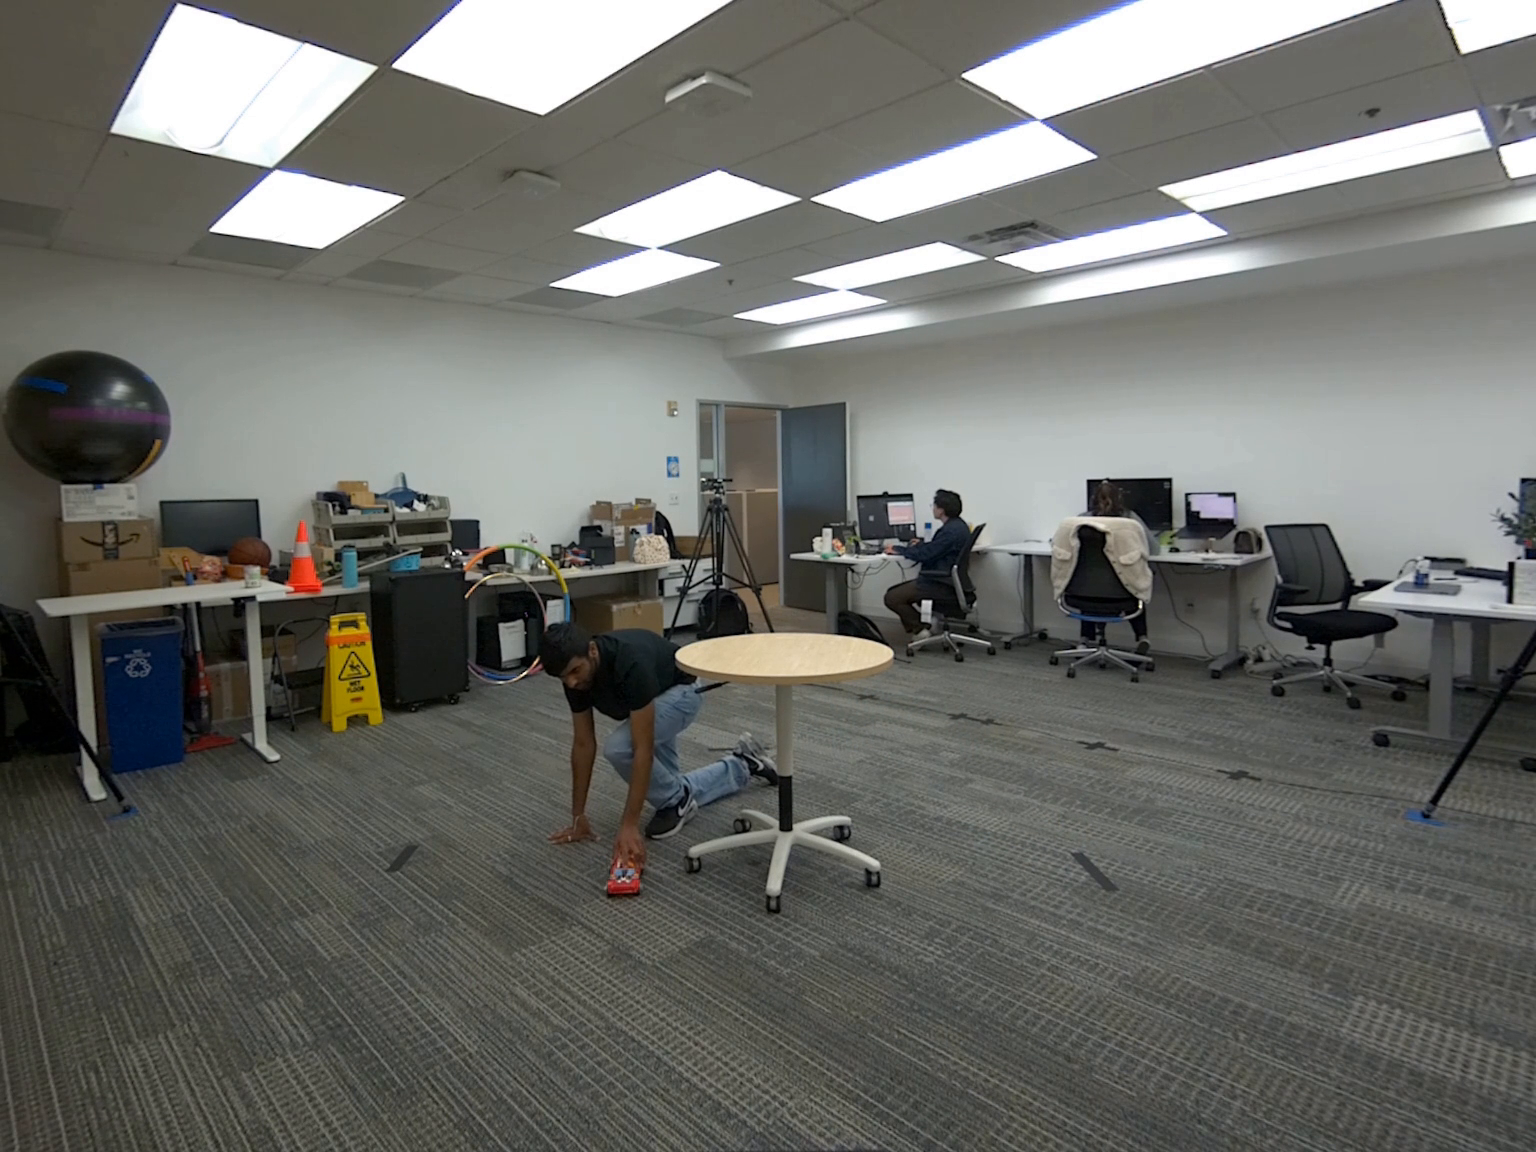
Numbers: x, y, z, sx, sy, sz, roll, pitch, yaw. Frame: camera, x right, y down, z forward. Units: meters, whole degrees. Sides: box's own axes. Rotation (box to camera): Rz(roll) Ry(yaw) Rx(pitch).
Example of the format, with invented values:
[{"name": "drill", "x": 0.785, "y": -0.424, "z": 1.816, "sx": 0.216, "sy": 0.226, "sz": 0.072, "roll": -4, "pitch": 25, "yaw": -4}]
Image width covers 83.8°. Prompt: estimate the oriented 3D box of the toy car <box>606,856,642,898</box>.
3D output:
[{"name": "toy car", "x": -0.511, "y": 1.036, "z": 2.980, "sx": 0.130, "sy": 0.082, "sz": 0.259, "roll": -2, "pitch": 18, "yaw": -3}]
